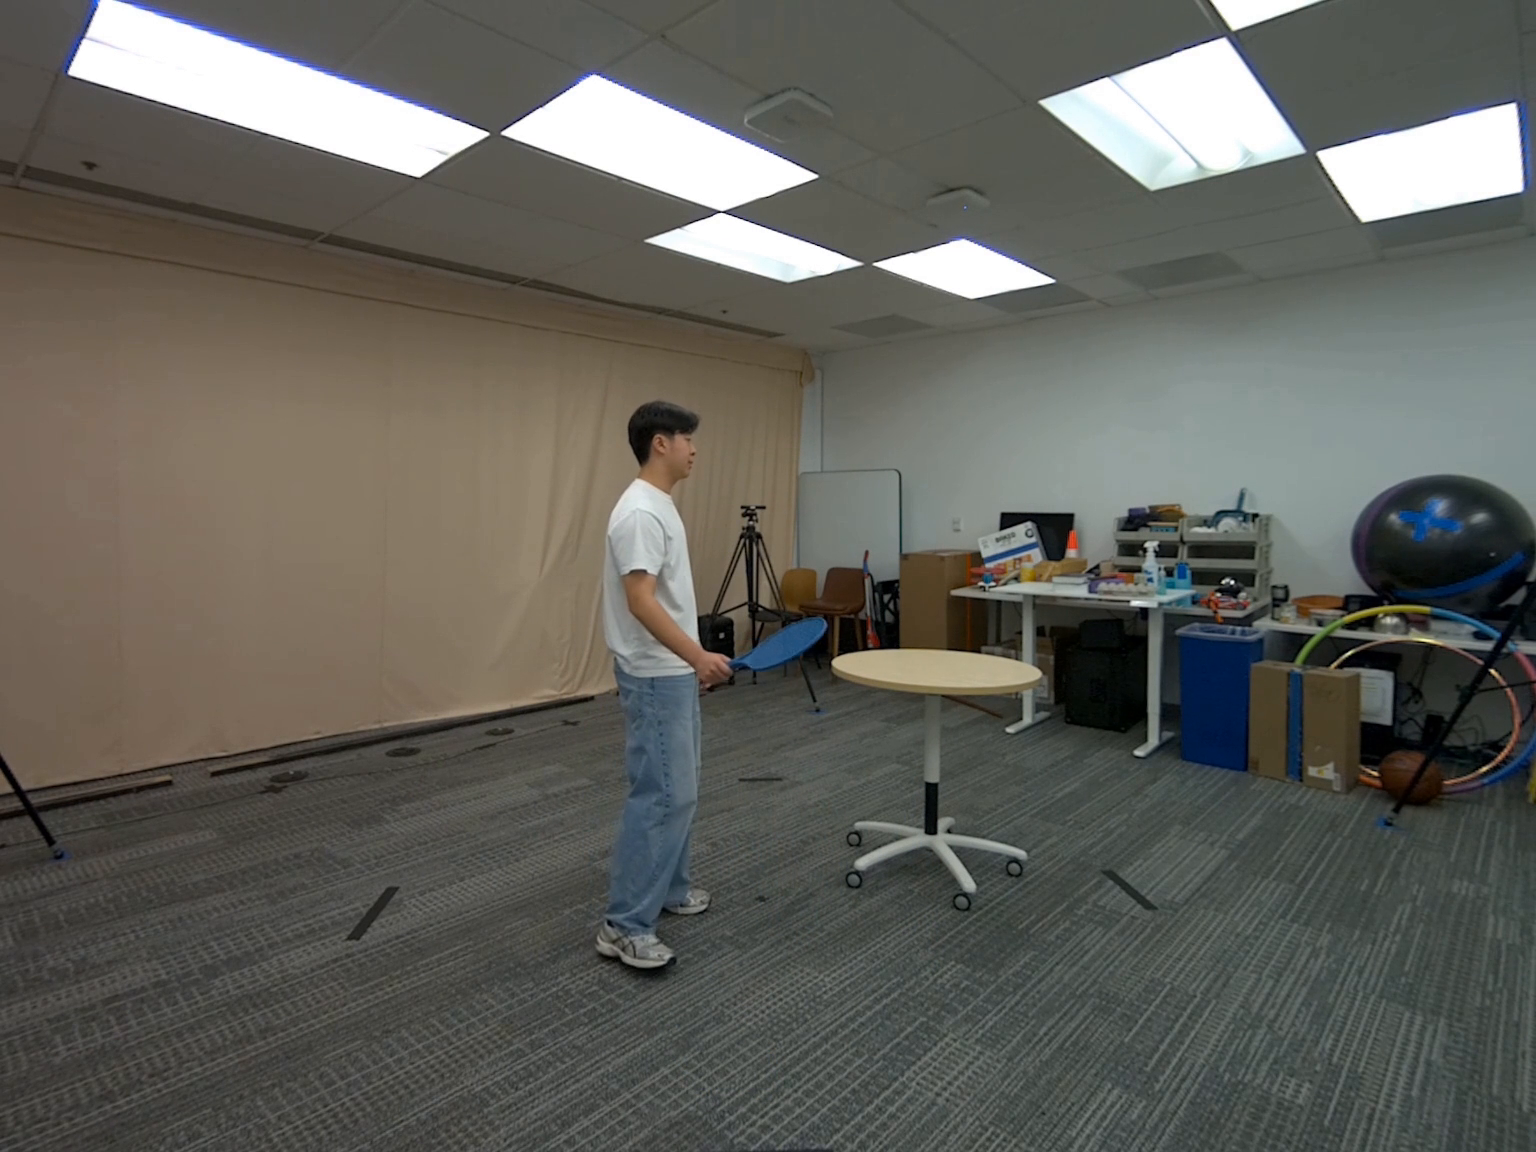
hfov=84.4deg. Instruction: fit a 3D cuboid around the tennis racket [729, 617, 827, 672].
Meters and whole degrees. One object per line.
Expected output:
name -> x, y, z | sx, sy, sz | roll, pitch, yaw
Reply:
tennis racket -> 0.000, 0.223, 2.450 | 0.441, 0.031, 0.212 | -25, 17, 37
